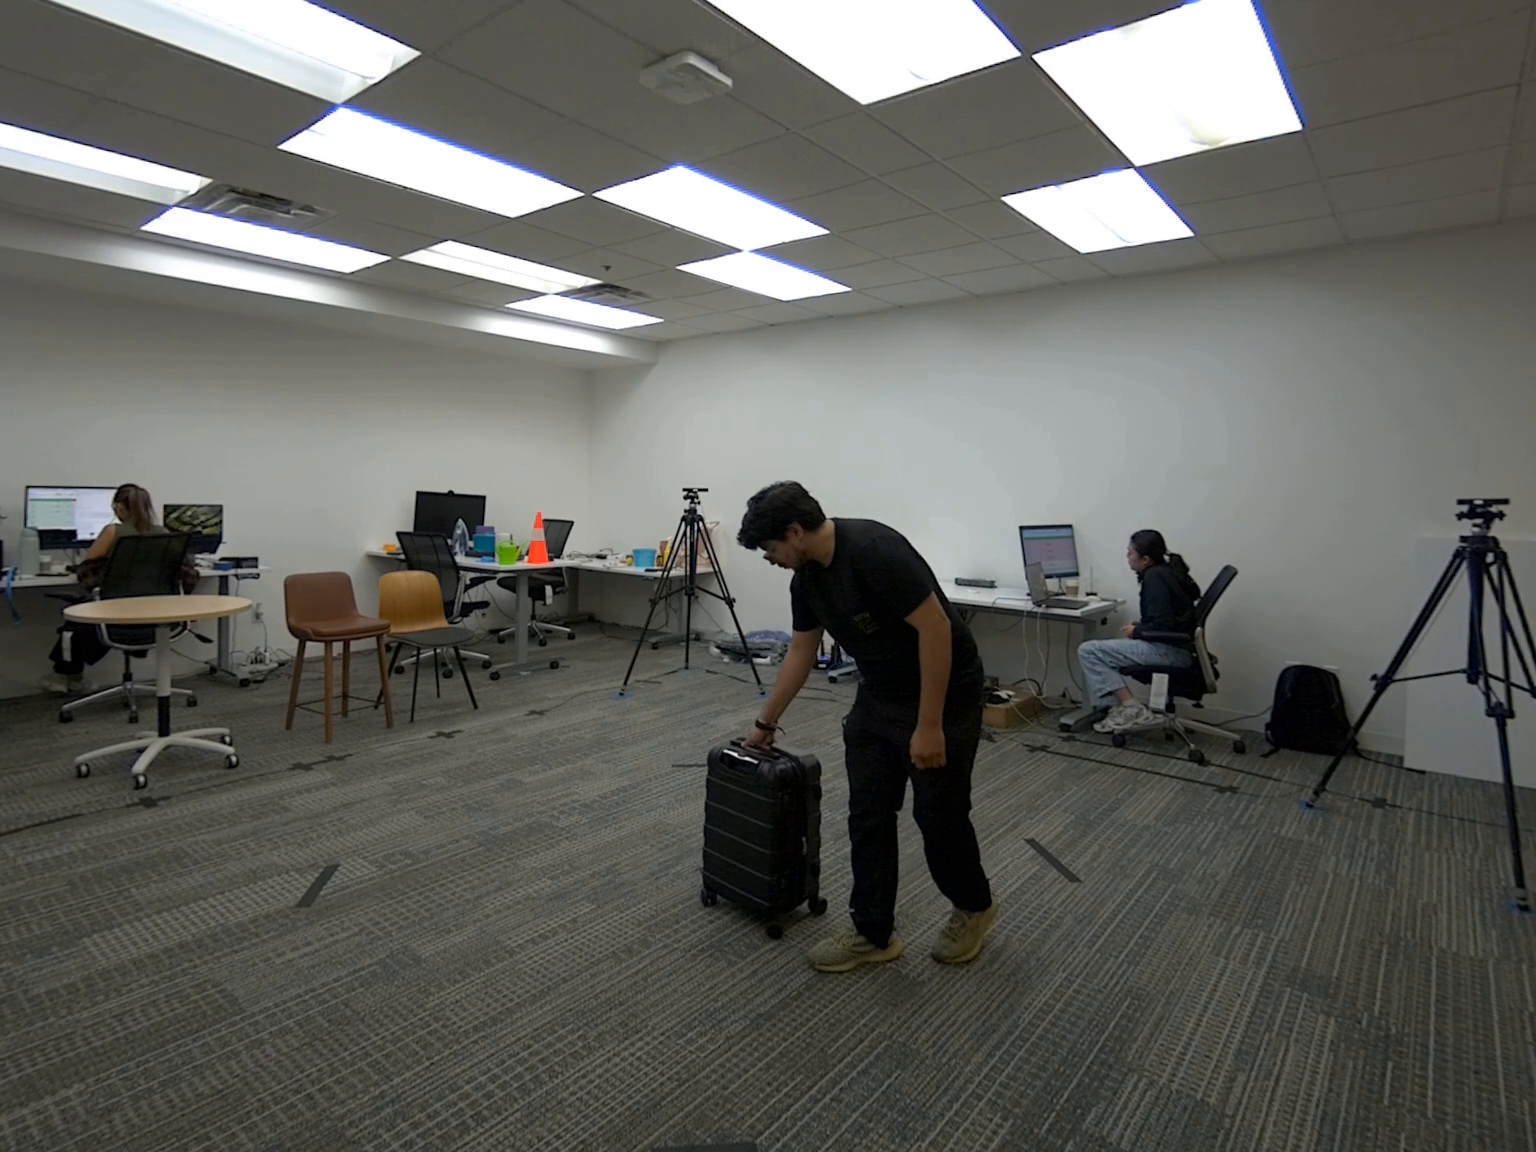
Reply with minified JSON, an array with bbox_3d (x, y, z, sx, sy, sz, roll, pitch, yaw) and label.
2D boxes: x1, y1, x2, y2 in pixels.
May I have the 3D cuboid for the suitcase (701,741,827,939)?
[{"bbox_3d":[-0.032,0.825,2.823,0.240,0.548,0.388,-1,3,-45],"label":"suitcase"}]
